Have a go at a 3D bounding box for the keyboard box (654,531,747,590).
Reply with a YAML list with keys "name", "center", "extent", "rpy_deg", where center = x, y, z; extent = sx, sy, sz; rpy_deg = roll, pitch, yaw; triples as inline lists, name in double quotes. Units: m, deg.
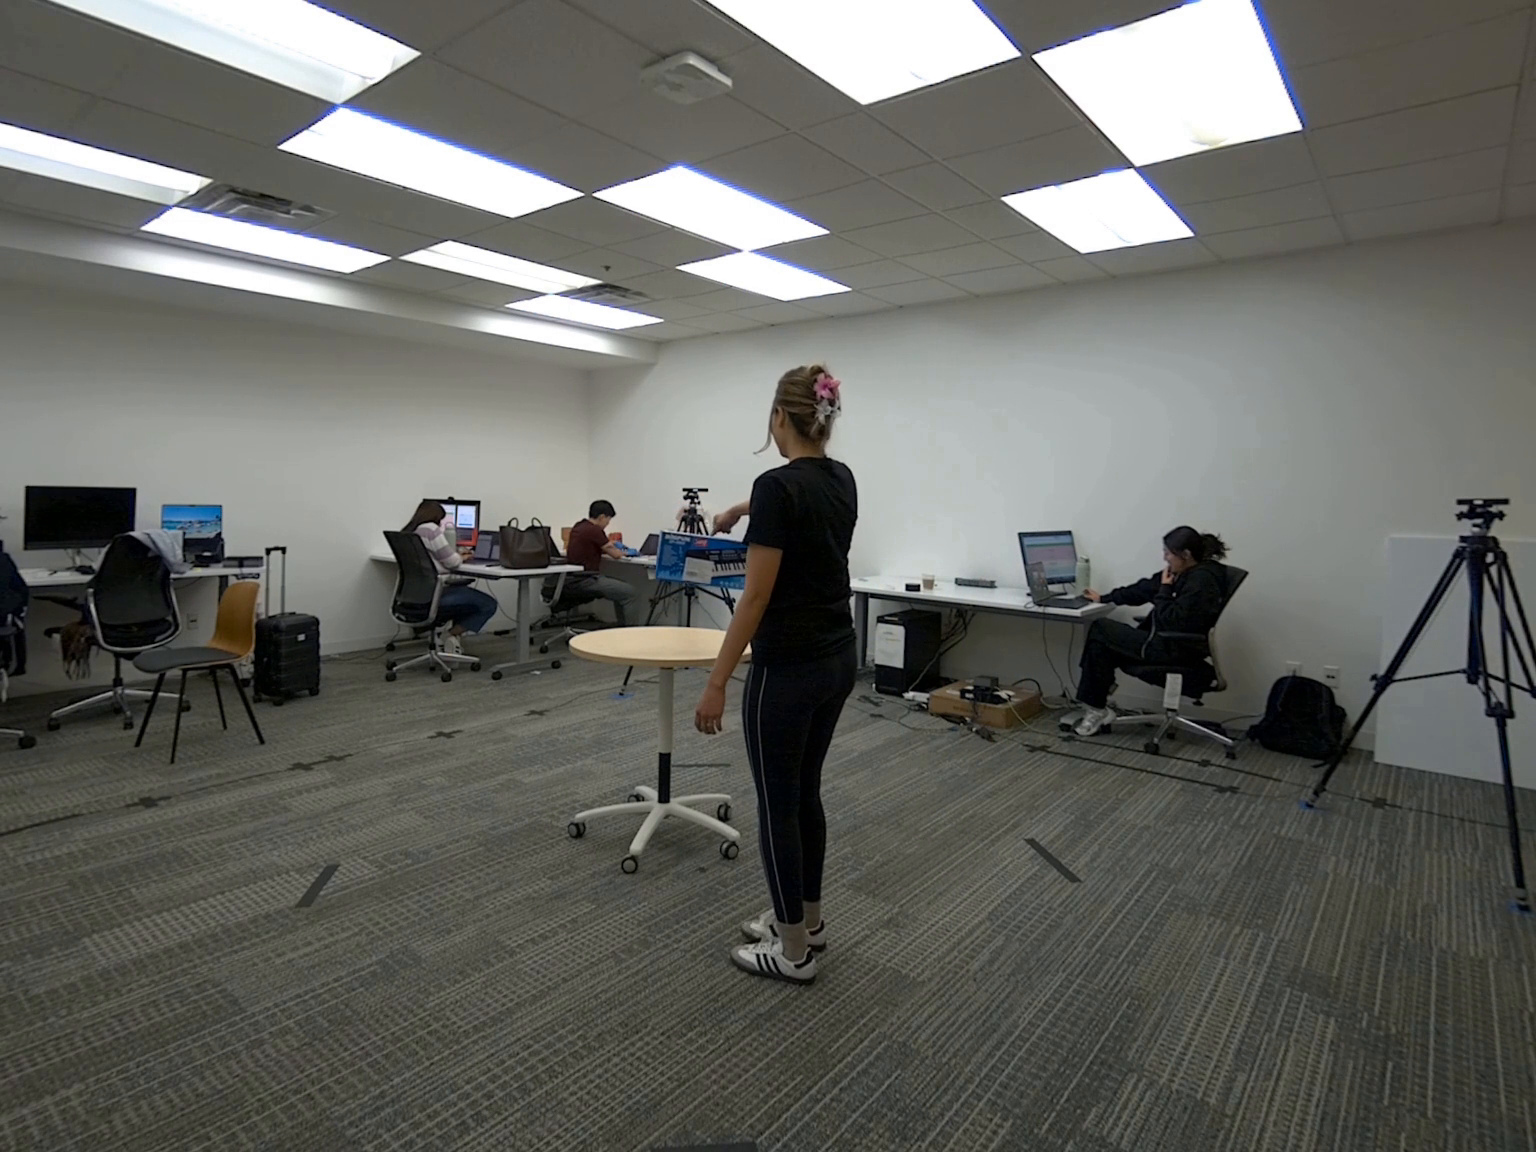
- name: "keyboard box"
  center: [-0.184, -0.049, 3.028]
  extent: [0.431, 0.175, 0.060]
  rpy_deg: [7, 5, -10]
